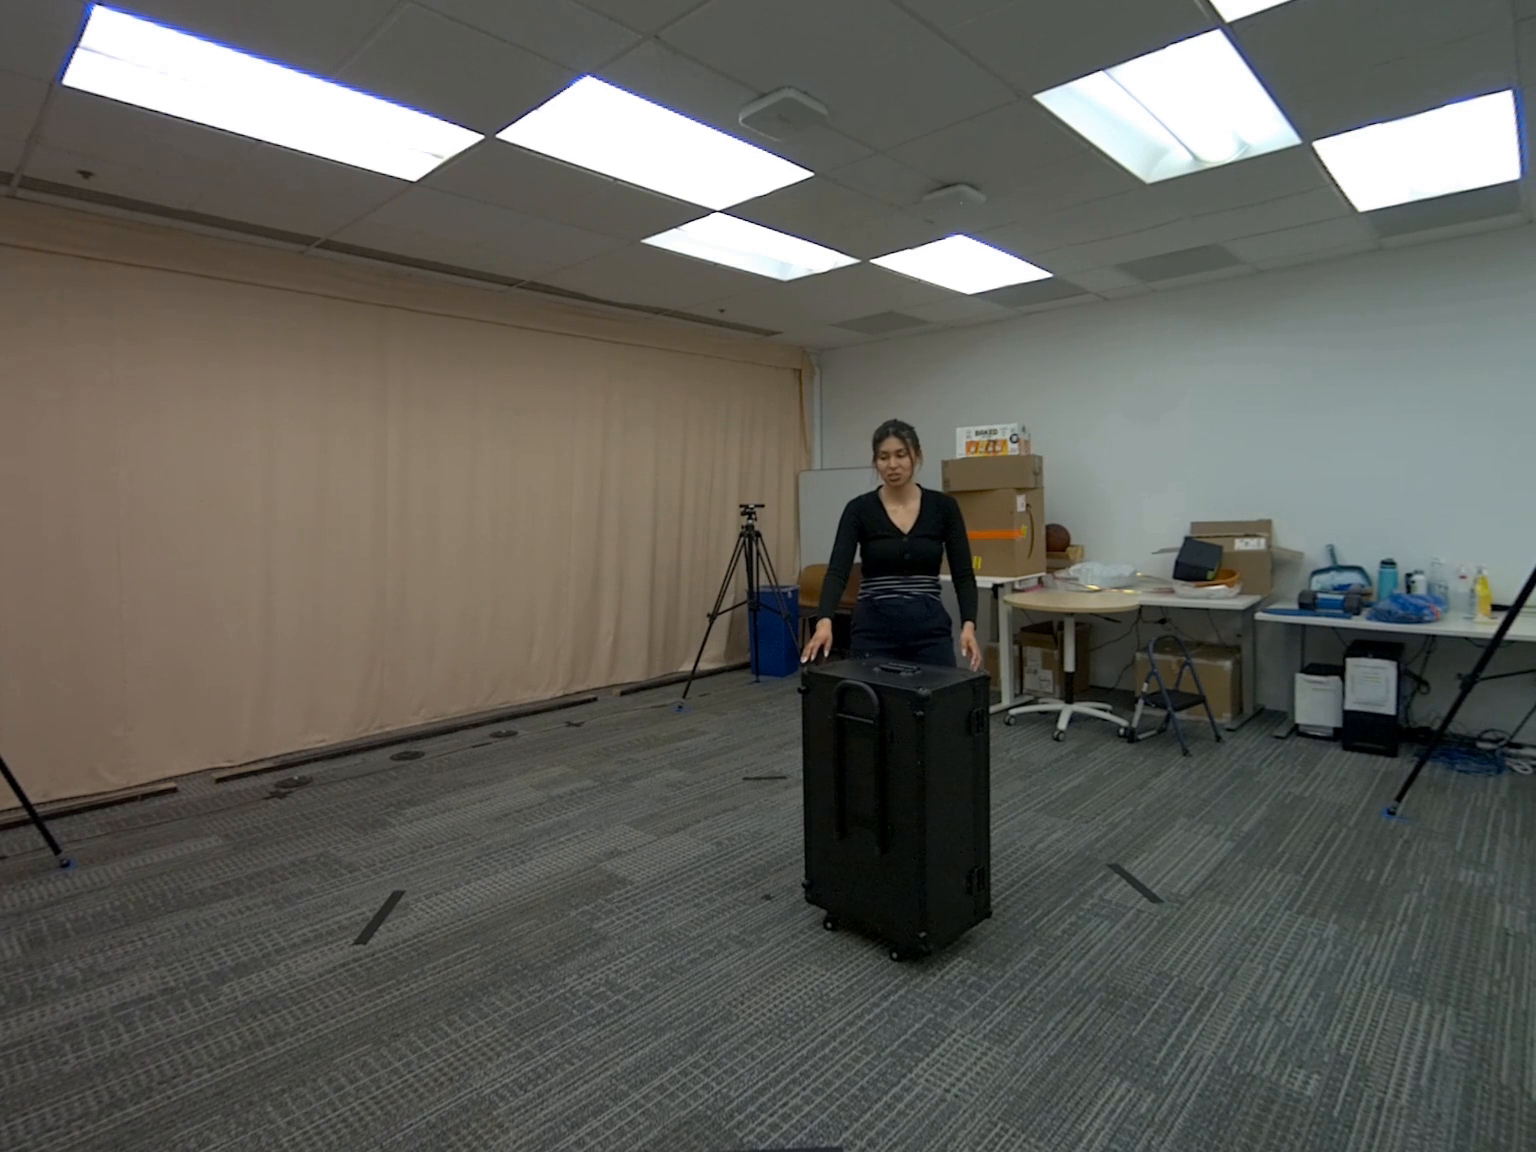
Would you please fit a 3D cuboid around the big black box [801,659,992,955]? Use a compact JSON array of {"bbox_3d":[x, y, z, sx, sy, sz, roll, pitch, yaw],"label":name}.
[{"bbox_3d":[0.407,0.733,2.707,0.384,0.859,0.538,-5,6,-43],"label":"big black box"}]
